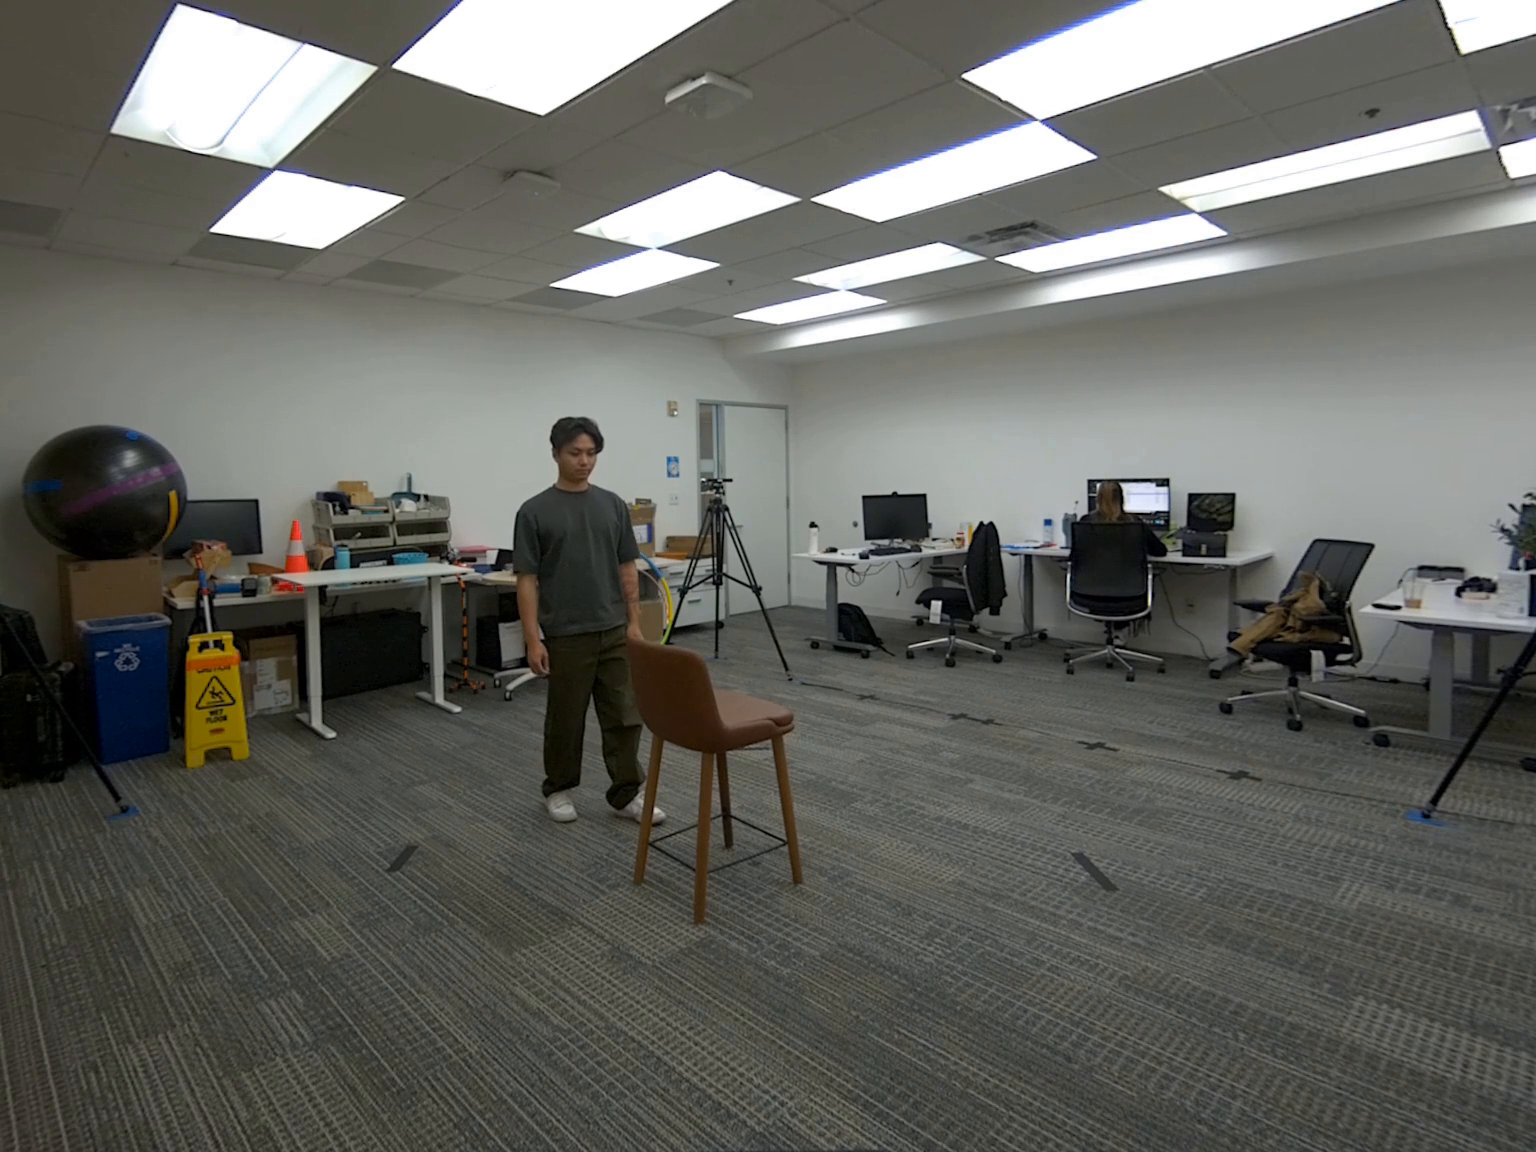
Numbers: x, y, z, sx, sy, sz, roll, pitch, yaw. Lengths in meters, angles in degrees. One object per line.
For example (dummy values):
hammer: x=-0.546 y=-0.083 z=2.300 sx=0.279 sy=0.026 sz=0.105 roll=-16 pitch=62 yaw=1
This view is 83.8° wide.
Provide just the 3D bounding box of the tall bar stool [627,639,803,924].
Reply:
tall bar stool: x=-0.188 y=0.630 z=2.937 sx=0.456 sy=0.885 sz=0.470 roll=-7 pitch=7 yaw=-40
